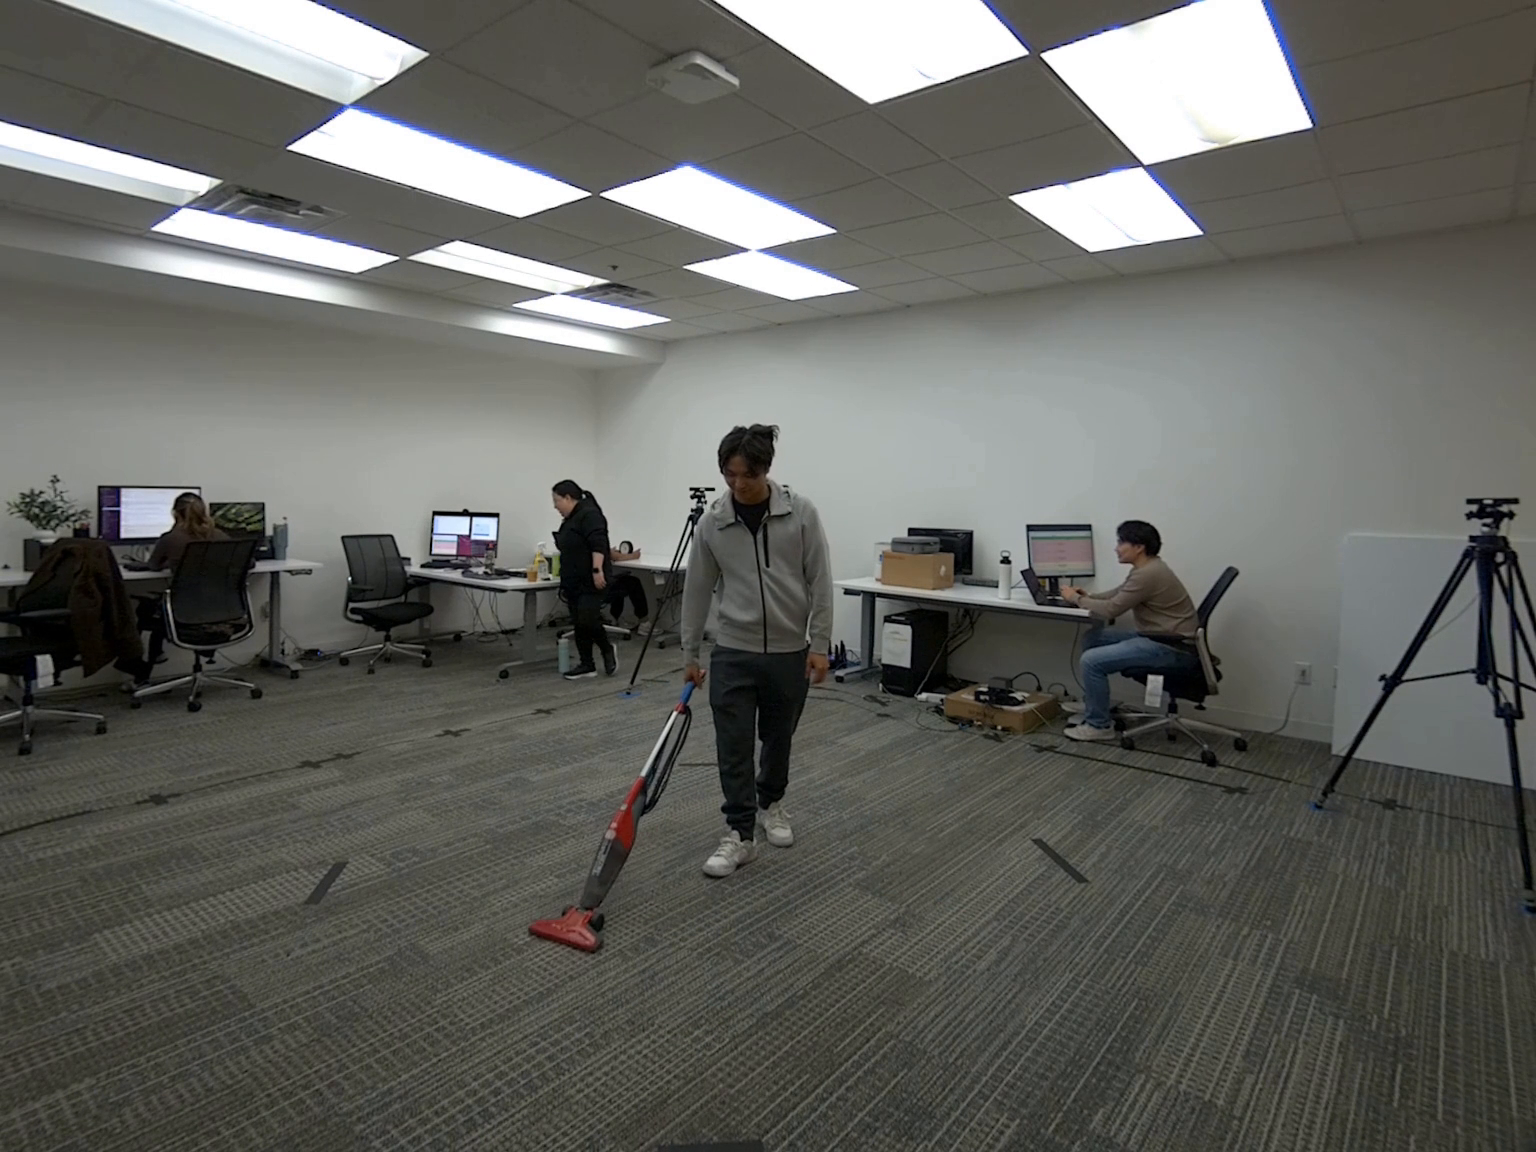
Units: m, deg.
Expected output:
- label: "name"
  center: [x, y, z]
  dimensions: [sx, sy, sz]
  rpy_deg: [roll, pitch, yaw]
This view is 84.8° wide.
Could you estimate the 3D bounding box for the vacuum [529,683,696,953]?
- label: "vacuum"
  center: [-0.440, 0.748, 2.975]
  dimensions: [0.258, 0.139, 1.060]
  rpy_deg: [7, 44, 20]
